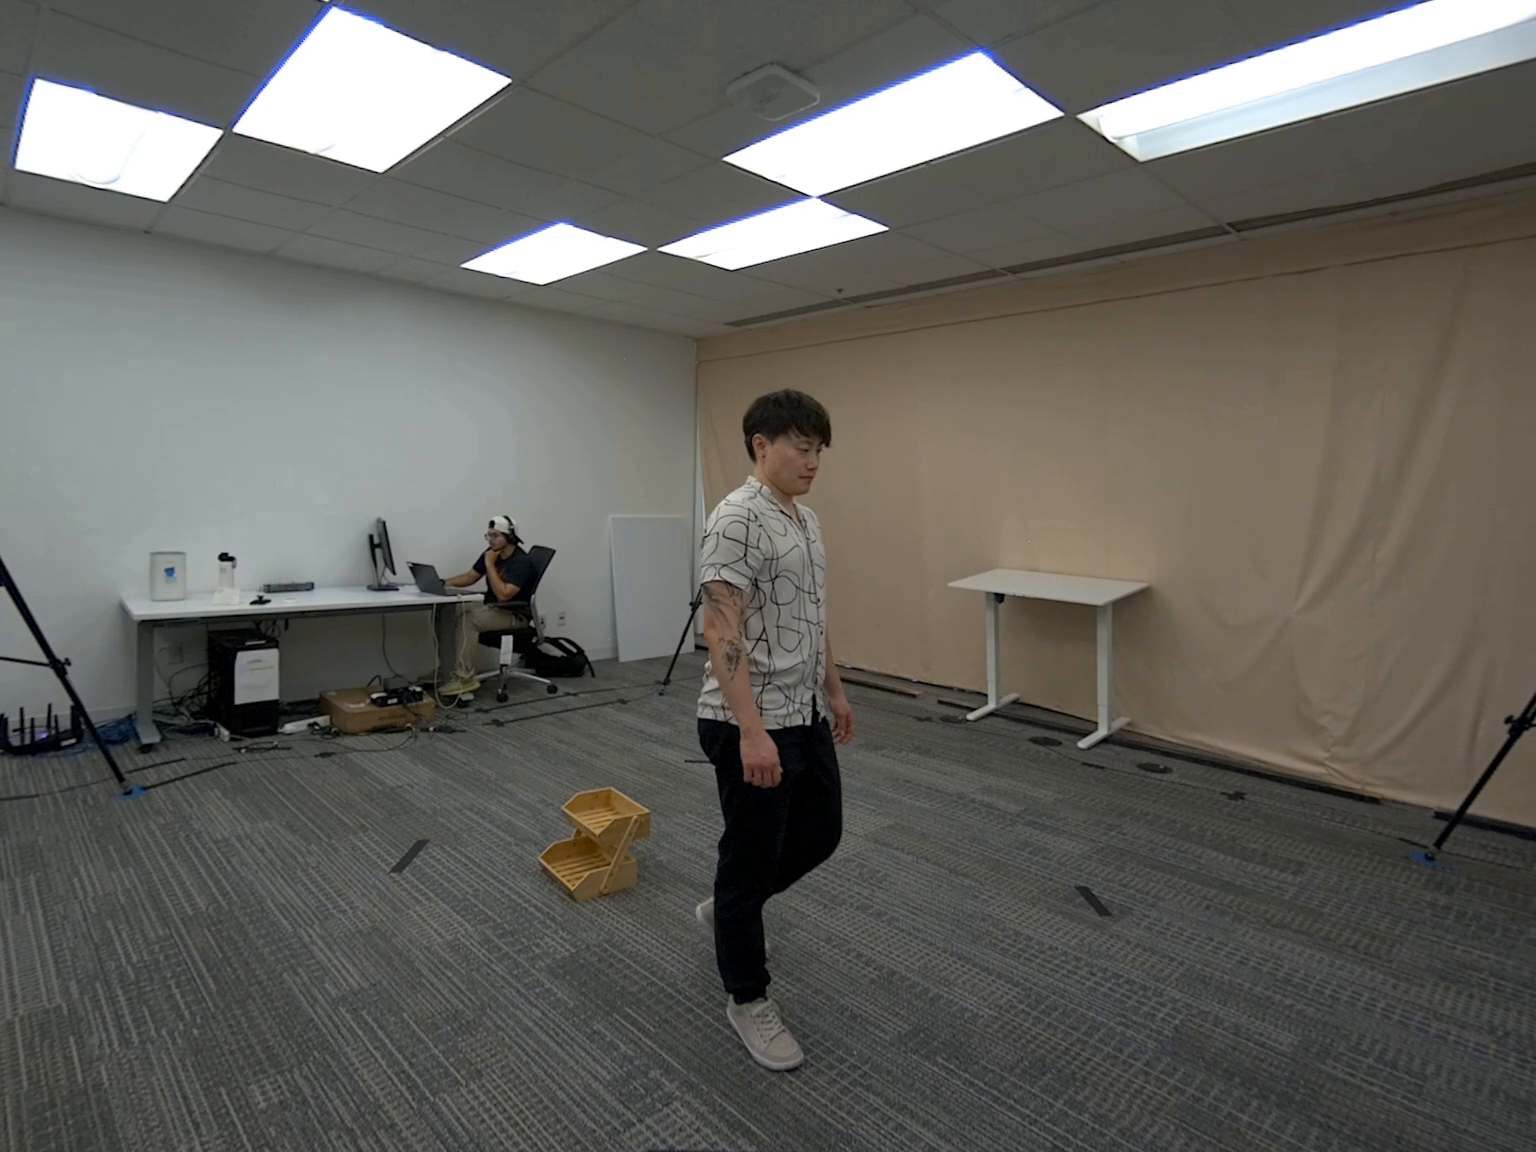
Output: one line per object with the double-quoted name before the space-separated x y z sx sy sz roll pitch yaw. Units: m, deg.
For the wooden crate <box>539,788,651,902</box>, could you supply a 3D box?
"wooden crate" -0.646 0.964 3.059 0.295 0.273 0.332 -1 5 -37
